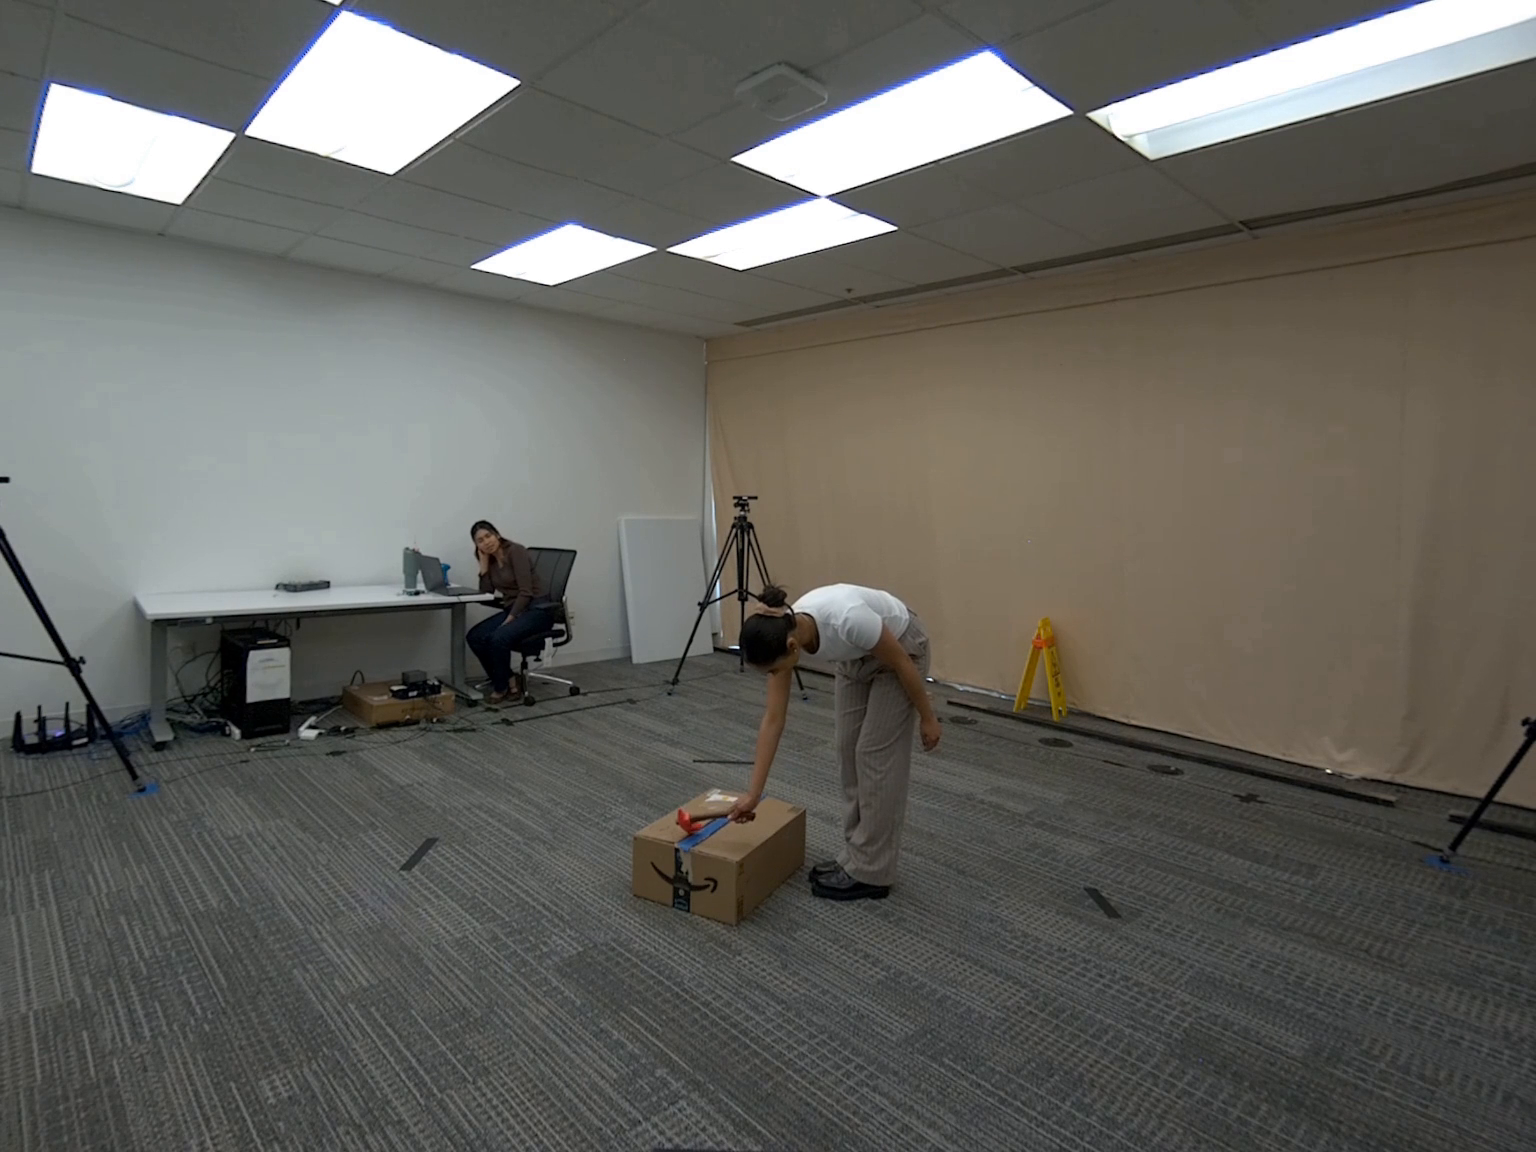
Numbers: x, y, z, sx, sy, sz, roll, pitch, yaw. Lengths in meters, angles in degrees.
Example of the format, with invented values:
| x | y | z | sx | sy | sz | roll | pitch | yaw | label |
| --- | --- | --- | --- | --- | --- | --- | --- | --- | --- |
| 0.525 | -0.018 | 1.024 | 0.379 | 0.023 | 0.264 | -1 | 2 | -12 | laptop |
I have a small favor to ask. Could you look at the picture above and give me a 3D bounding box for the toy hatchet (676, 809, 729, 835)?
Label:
| x | y | z | sx | sy | sz | roll | pitch | yaw | label |
| --- | --- | --- | --- | --- | --- | --- | --- | --- | --- |
| -0.186 | 0.852 | 2.895 | 0.270 | 0.129 | 0.030 | 6 | 32 | 2 | toy hatchet |
